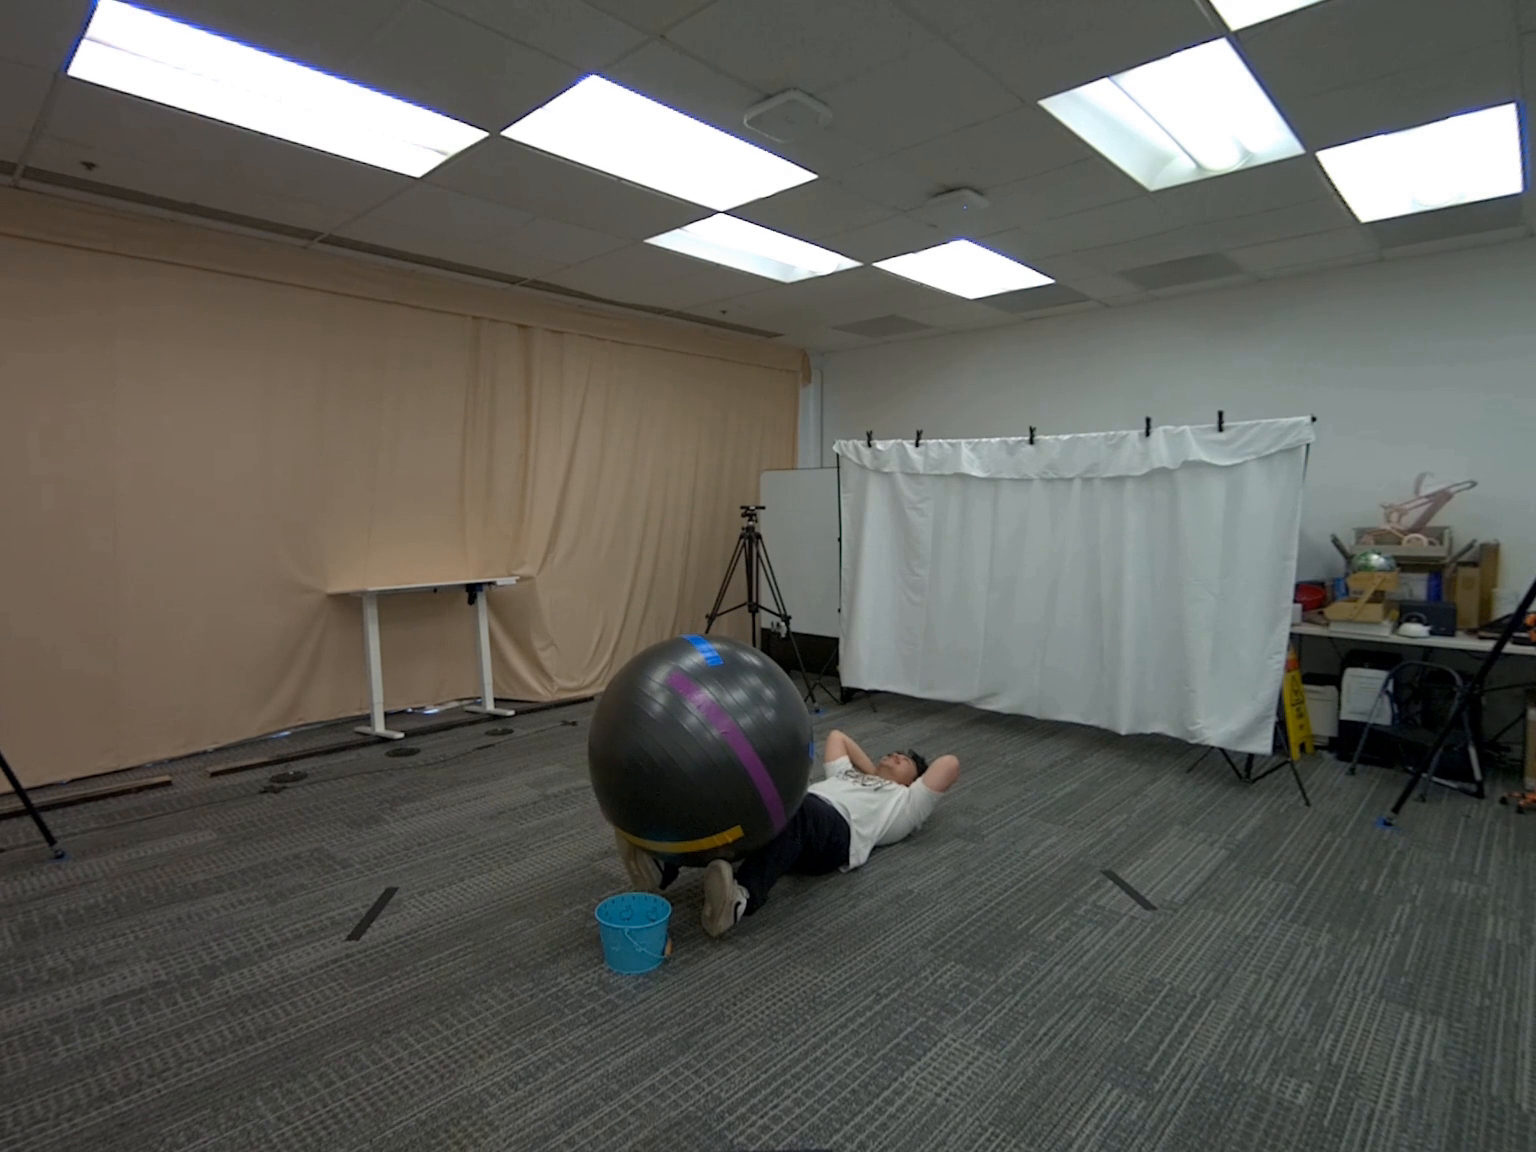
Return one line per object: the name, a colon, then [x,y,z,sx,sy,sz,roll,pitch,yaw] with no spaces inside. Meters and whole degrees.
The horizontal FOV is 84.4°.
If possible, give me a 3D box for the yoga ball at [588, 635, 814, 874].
yoga ball: [-0.225,0.577,2.833,0.757,0.756,0.760,0,4,-2]
